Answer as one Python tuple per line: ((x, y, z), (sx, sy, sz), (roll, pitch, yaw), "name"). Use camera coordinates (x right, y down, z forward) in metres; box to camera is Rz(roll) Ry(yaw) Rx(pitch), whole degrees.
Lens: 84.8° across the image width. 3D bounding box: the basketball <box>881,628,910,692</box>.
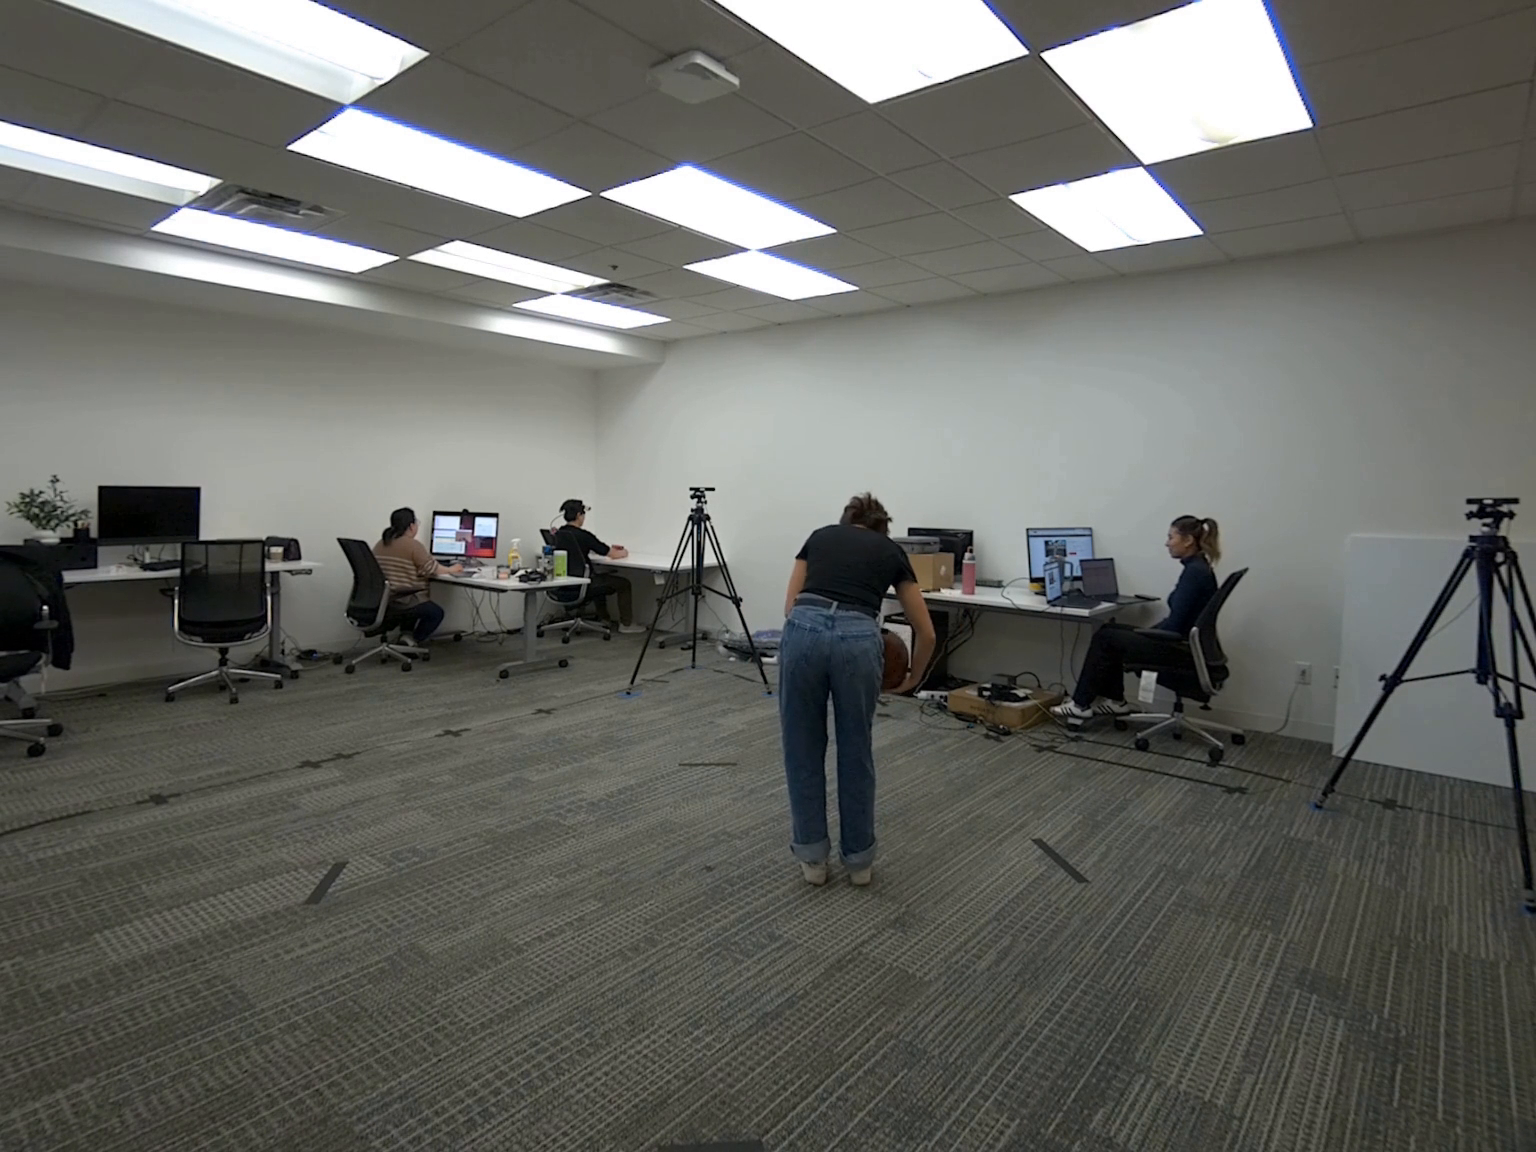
((0.416, 0.327, 3.232), (0.235, 0.235, 0.237), (1, 4, -2), "basketball")
